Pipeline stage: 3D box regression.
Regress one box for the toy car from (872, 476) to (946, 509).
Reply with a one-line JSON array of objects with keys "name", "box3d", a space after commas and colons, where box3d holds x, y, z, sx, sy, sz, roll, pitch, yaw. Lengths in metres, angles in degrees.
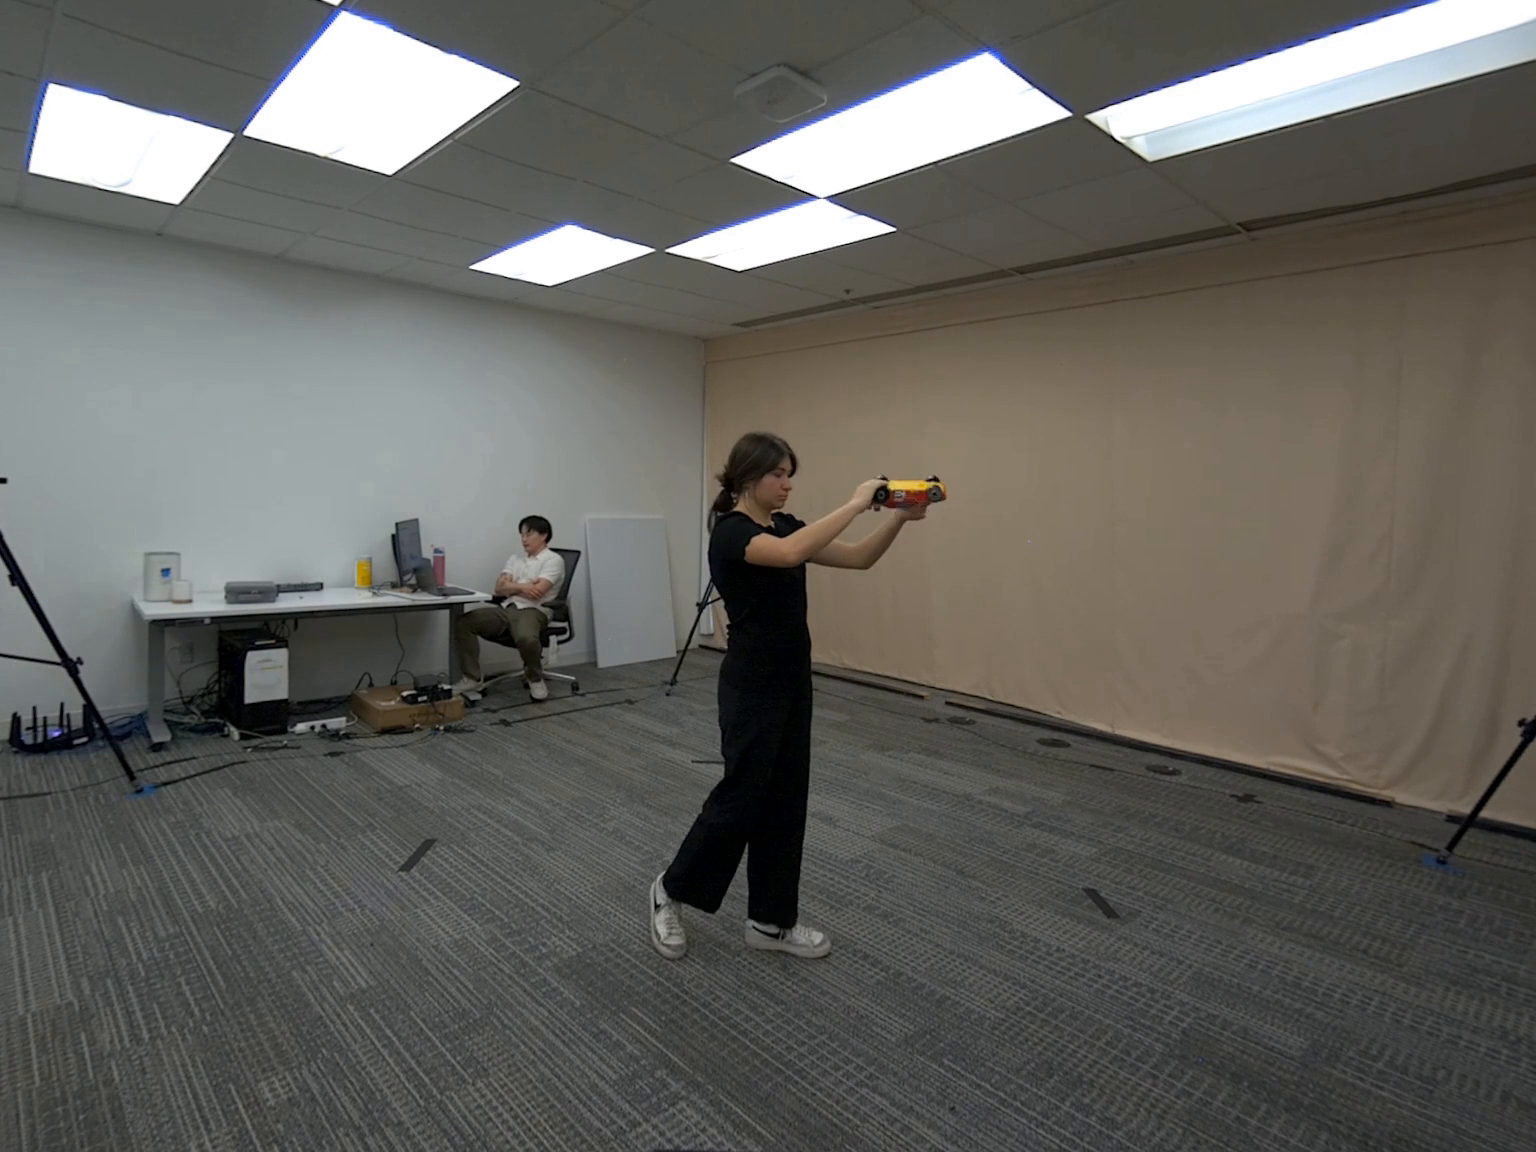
[{"name": "toy car", "box3d": [0.363, -0.238, 2.365, 0.257, 0.082, 0.131, -9, 19, 12]}]
